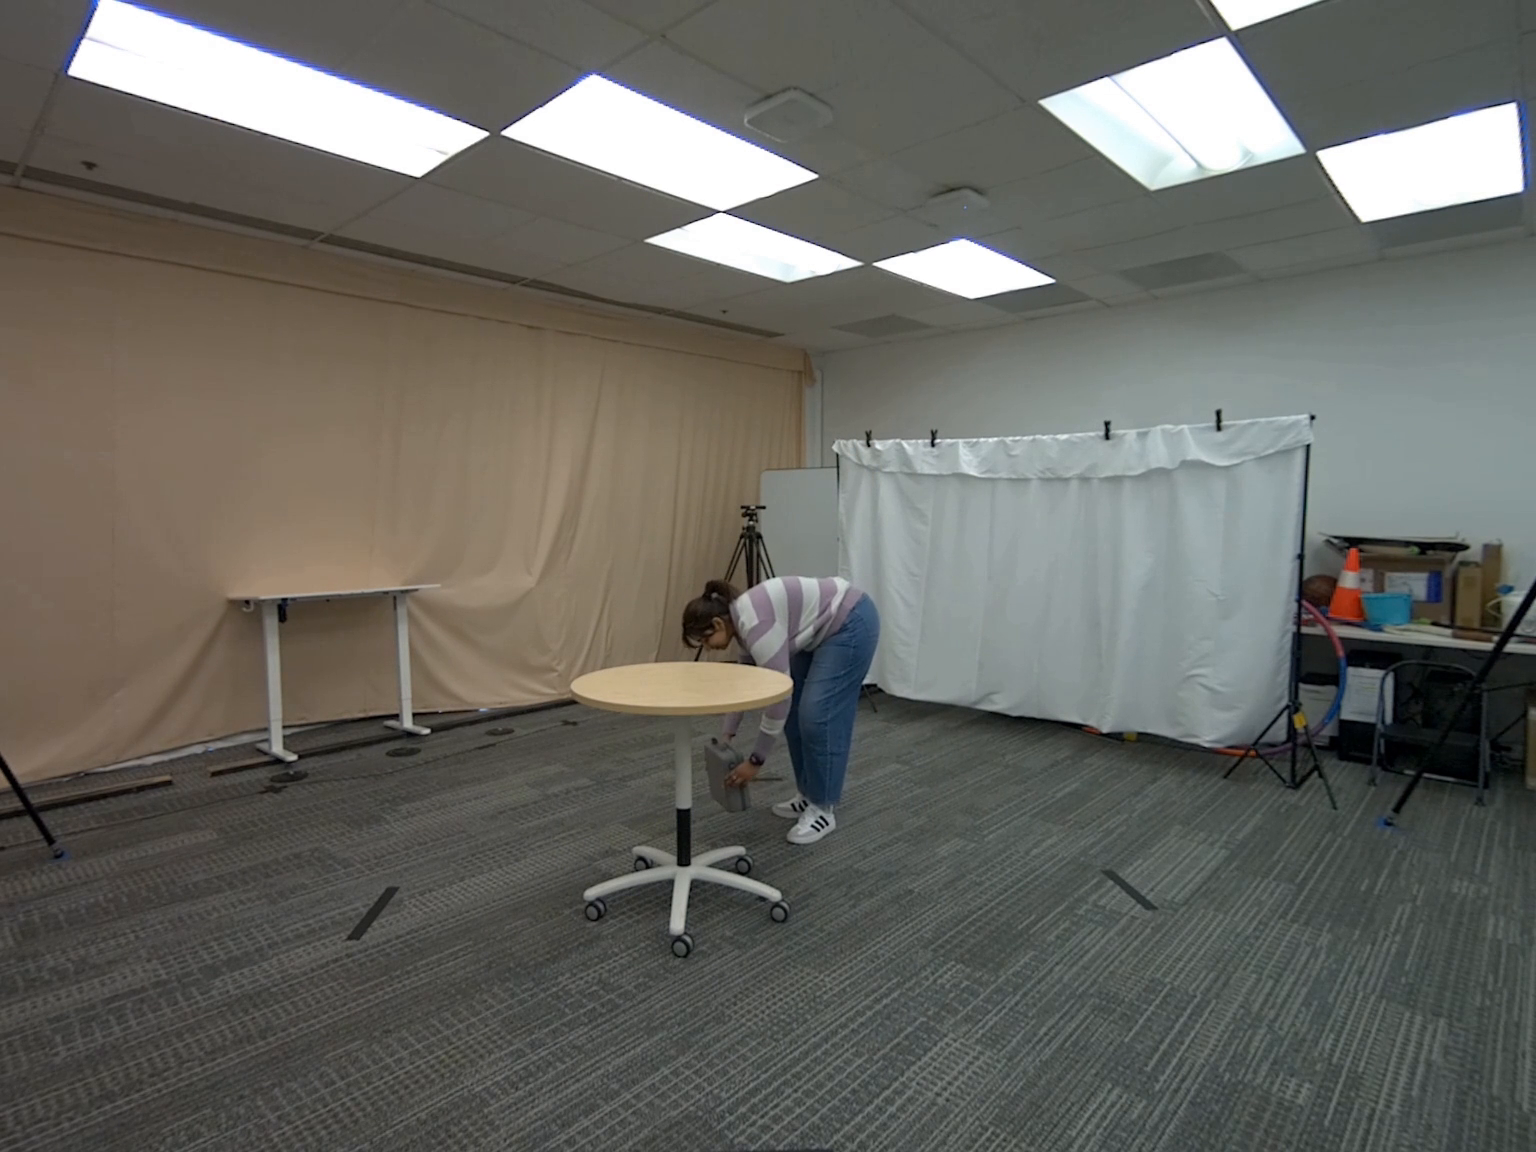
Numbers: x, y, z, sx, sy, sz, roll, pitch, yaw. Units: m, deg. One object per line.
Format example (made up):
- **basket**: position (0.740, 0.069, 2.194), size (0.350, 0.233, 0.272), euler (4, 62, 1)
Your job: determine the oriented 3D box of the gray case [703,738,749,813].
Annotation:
- **gray case**: position (-0.168, 0.835, 3.561), size (0.102, 0.260, 0.262), euler (-10, 4, -19)
